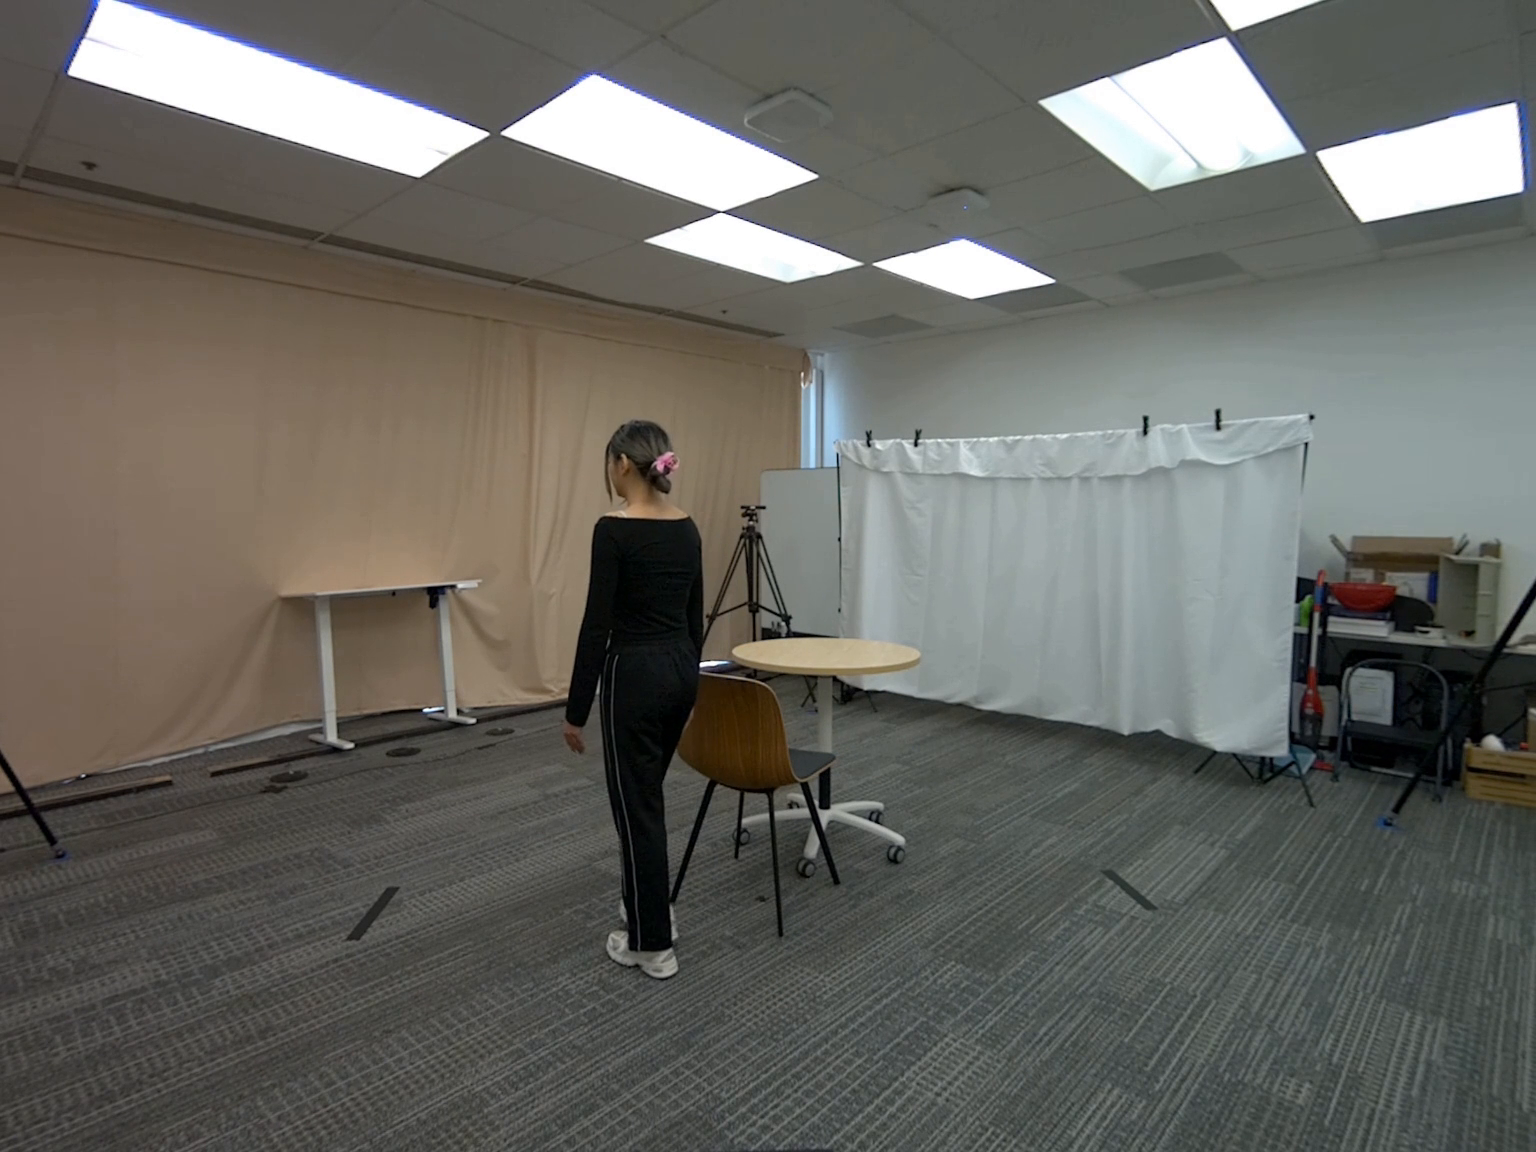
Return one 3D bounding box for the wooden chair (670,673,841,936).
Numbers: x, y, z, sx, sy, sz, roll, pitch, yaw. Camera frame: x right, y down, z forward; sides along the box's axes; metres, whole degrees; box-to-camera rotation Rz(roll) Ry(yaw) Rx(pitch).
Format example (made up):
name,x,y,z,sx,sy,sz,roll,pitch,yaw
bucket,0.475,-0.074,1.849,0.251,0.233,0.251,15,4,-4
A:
name,x,y,z,sx,sy,sz,roll,pitch,yaw
wooden chair,-0.036,0.714,3.003,0.492,0.873,0.510,2,8,31
